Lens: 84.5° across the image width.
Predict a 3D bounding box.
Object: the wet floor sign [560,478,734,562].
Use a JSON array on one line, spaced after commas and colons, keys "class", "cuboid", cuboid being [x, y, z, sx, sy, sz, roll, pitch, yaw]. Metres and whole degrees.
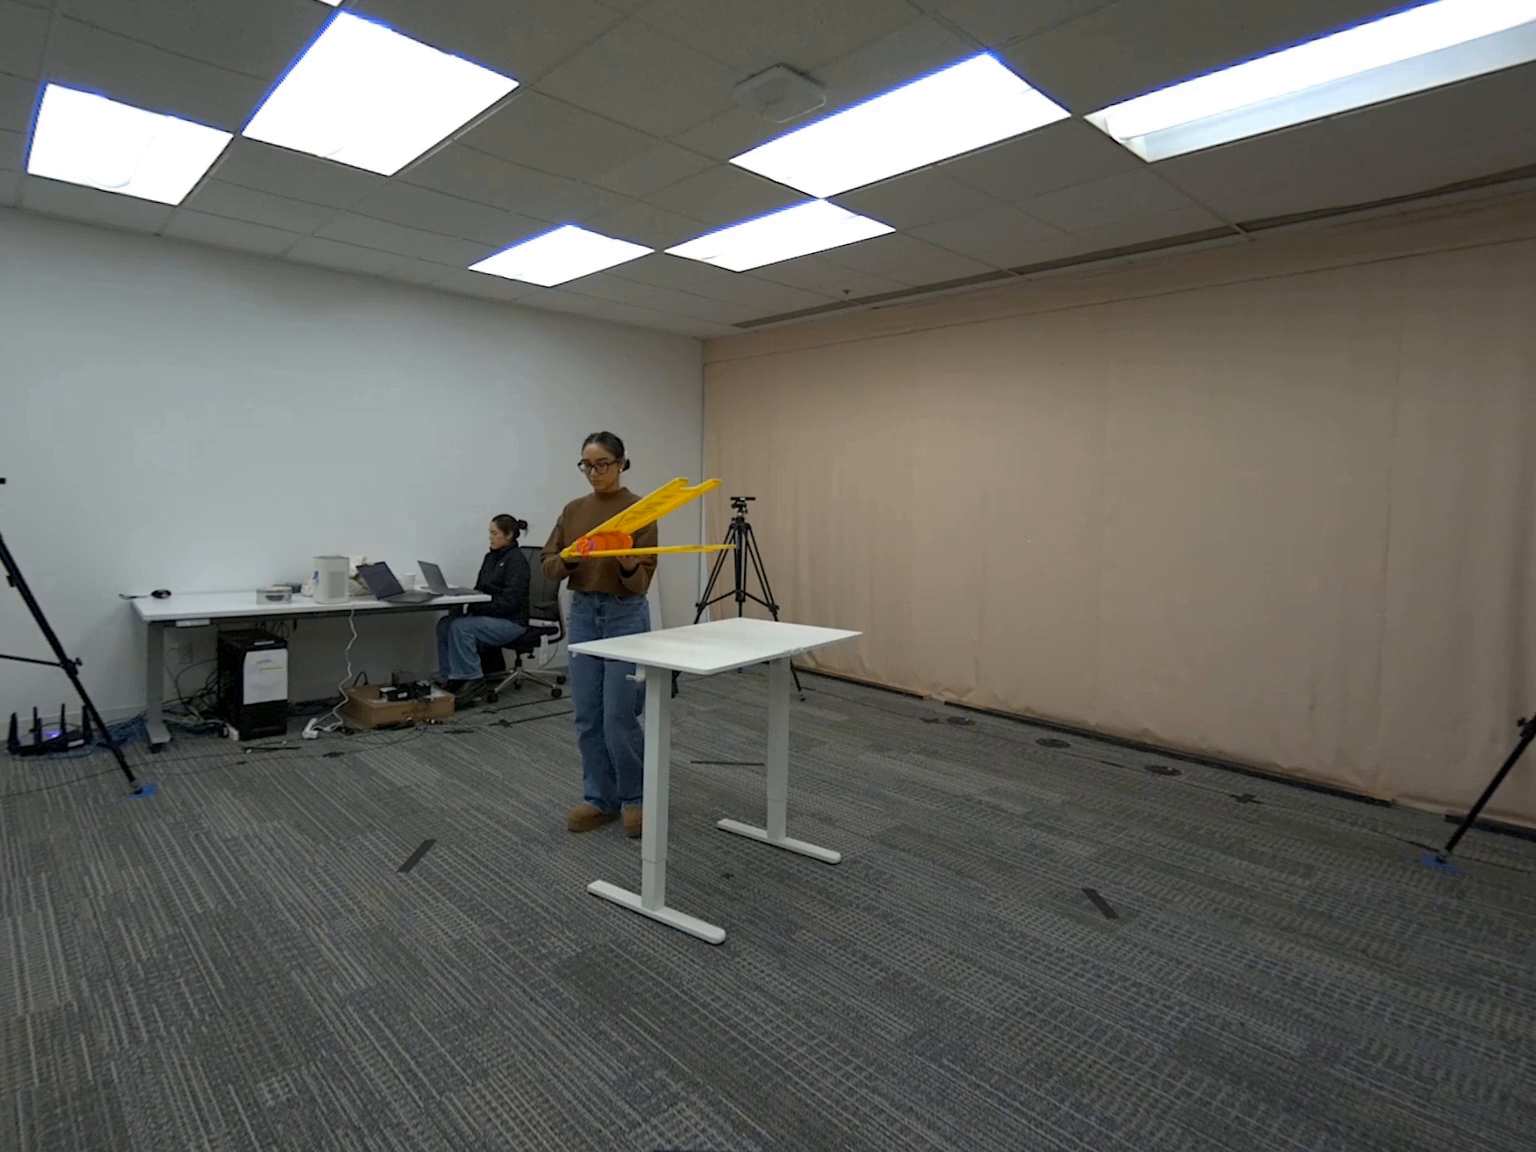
[{"class": "wet floor sign", "cuboid": [-0.485, -0.147, 3.105, 0.657, 0.291, 0.276, -12, -4, 31]}]
